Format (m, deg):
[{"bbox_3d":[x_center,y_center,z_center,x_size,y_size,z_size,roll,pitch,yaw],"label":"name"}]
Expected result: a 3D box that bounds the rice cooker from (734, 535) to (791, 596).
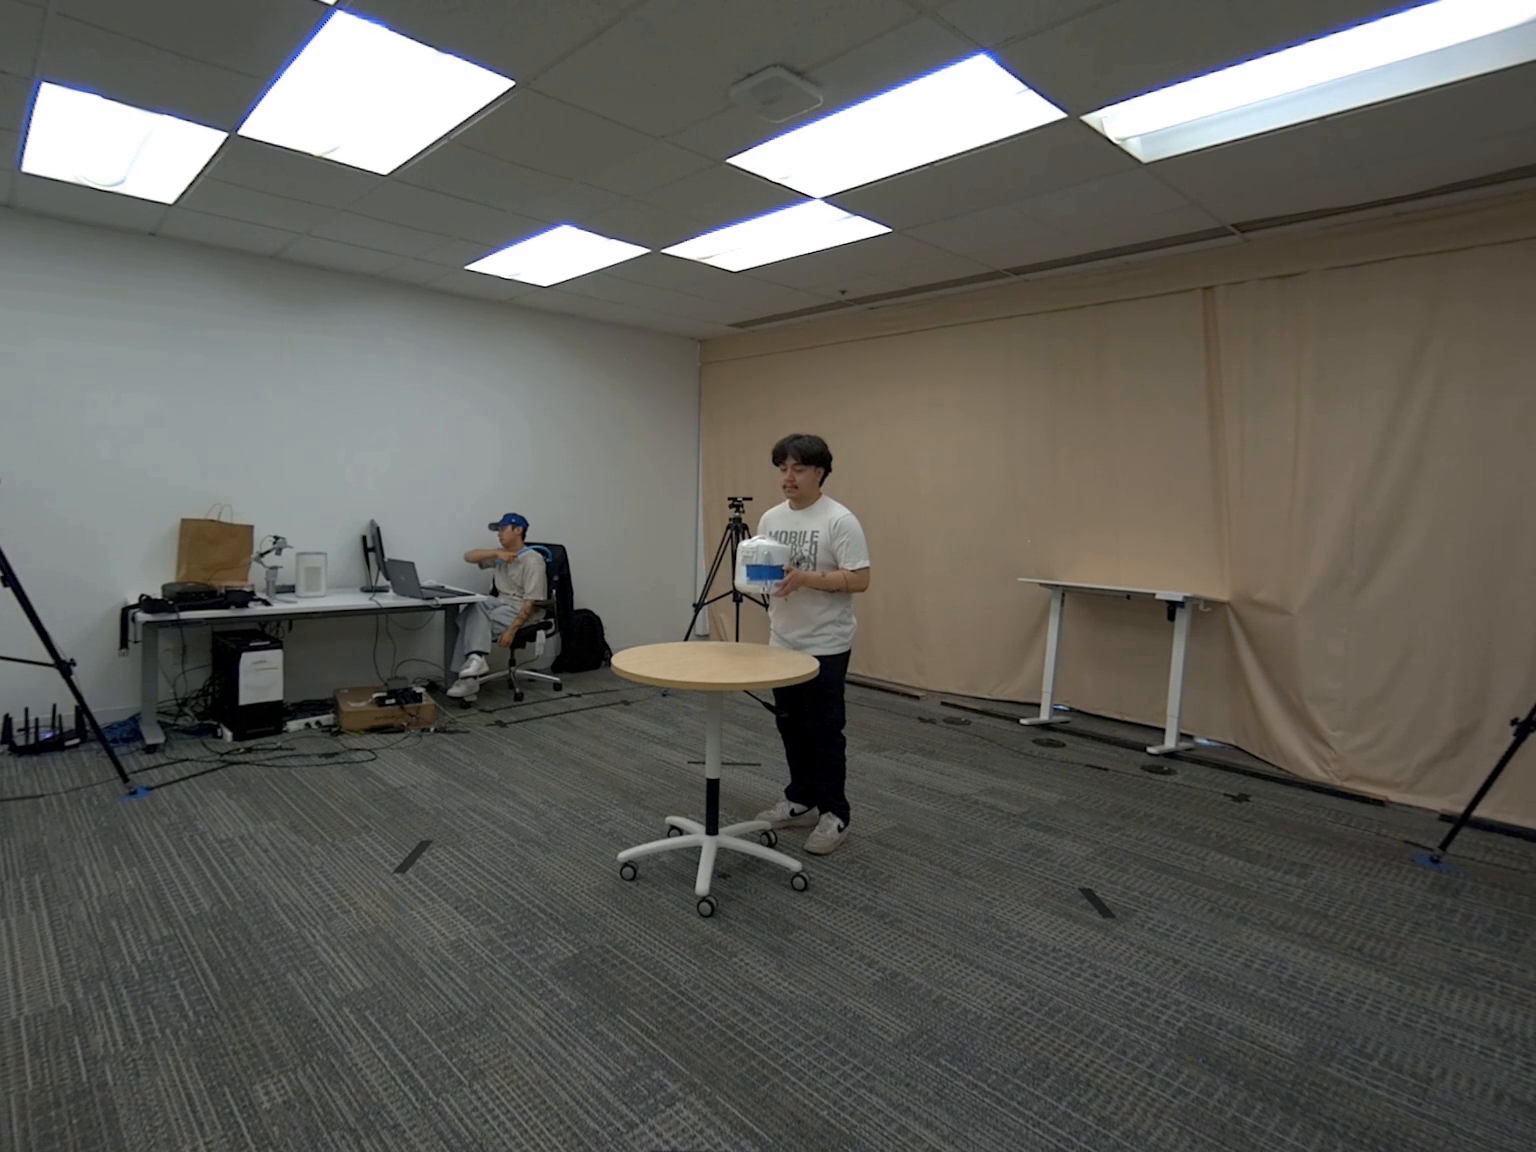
[{"bbox_3d":[-0.029,-0.048,3.318,0.222,0.233,0.215,4,-2,34],"label":"rice cooker"}]
